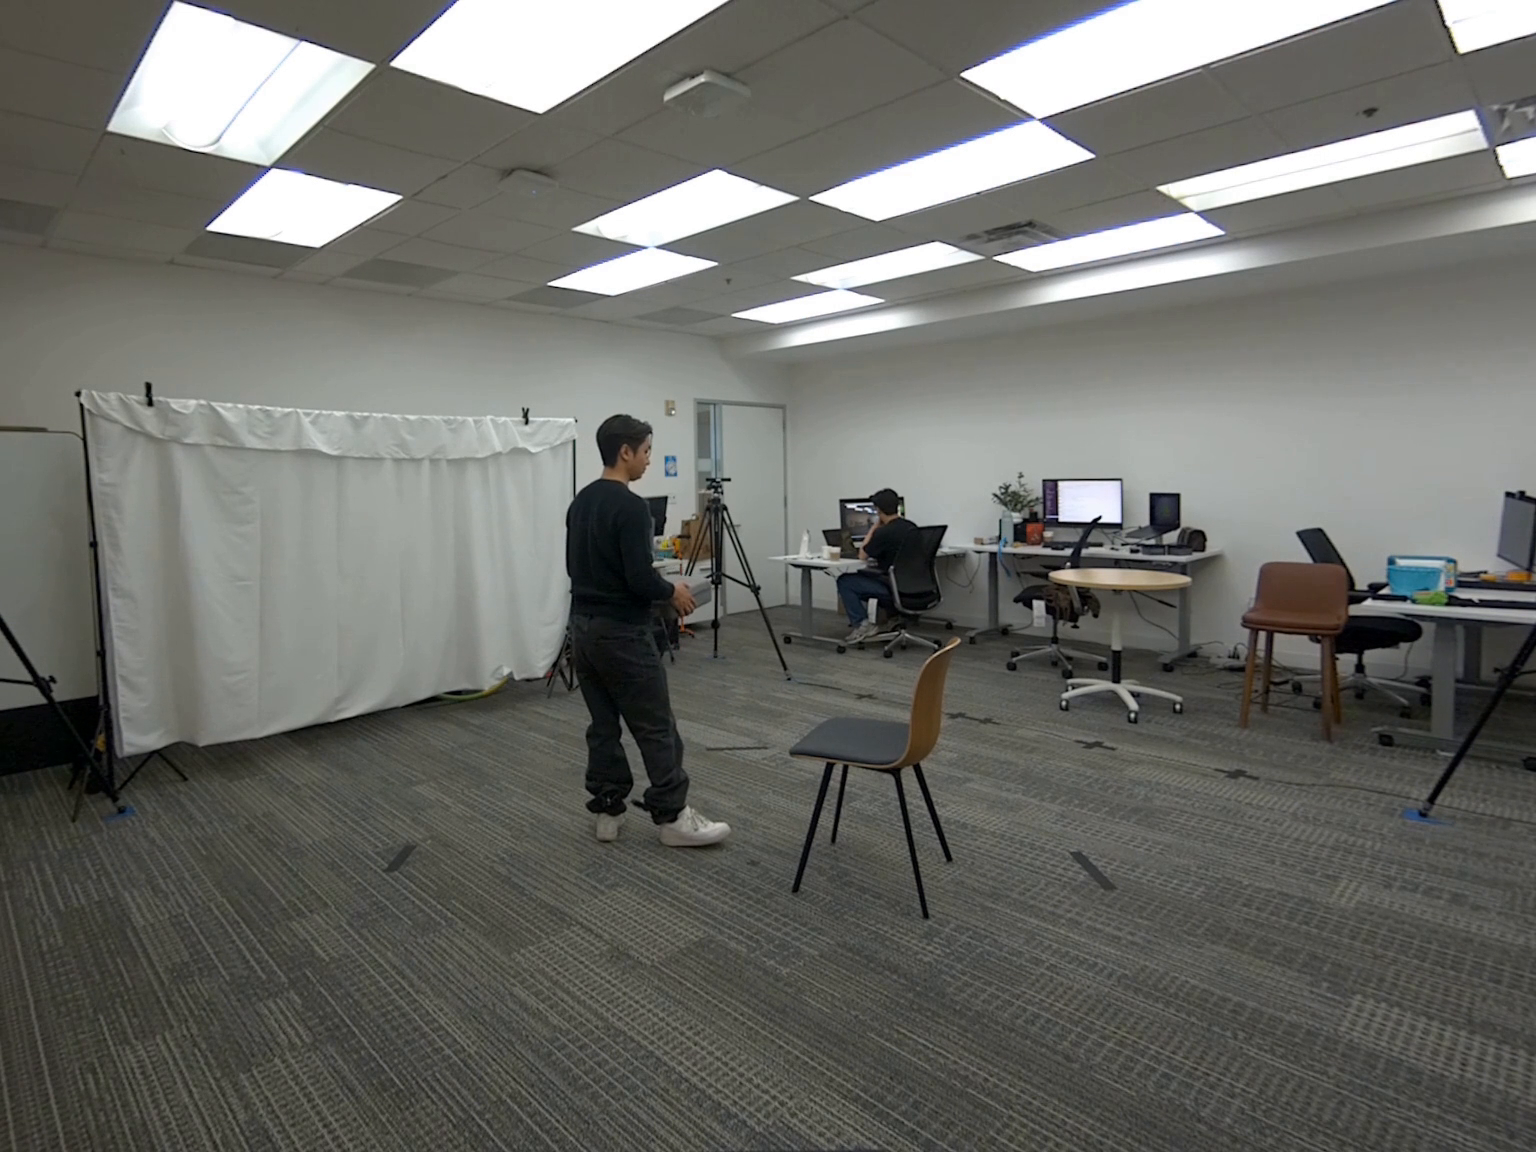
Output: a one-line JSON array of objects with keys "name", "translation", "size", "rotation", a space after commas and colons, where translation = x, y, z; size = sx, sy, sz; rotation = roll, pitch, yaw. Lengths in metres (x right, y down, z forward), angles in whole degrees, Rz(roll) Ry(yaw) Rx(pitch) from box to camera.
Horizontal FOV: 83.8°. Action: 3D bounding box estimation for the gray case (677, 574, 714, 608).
[{"name": "gray case", "translation": [-0.397, 0.082, 3.547], "size": [0.265, 0.102, 0.257], "rotation": [5, 22, 39]}]
